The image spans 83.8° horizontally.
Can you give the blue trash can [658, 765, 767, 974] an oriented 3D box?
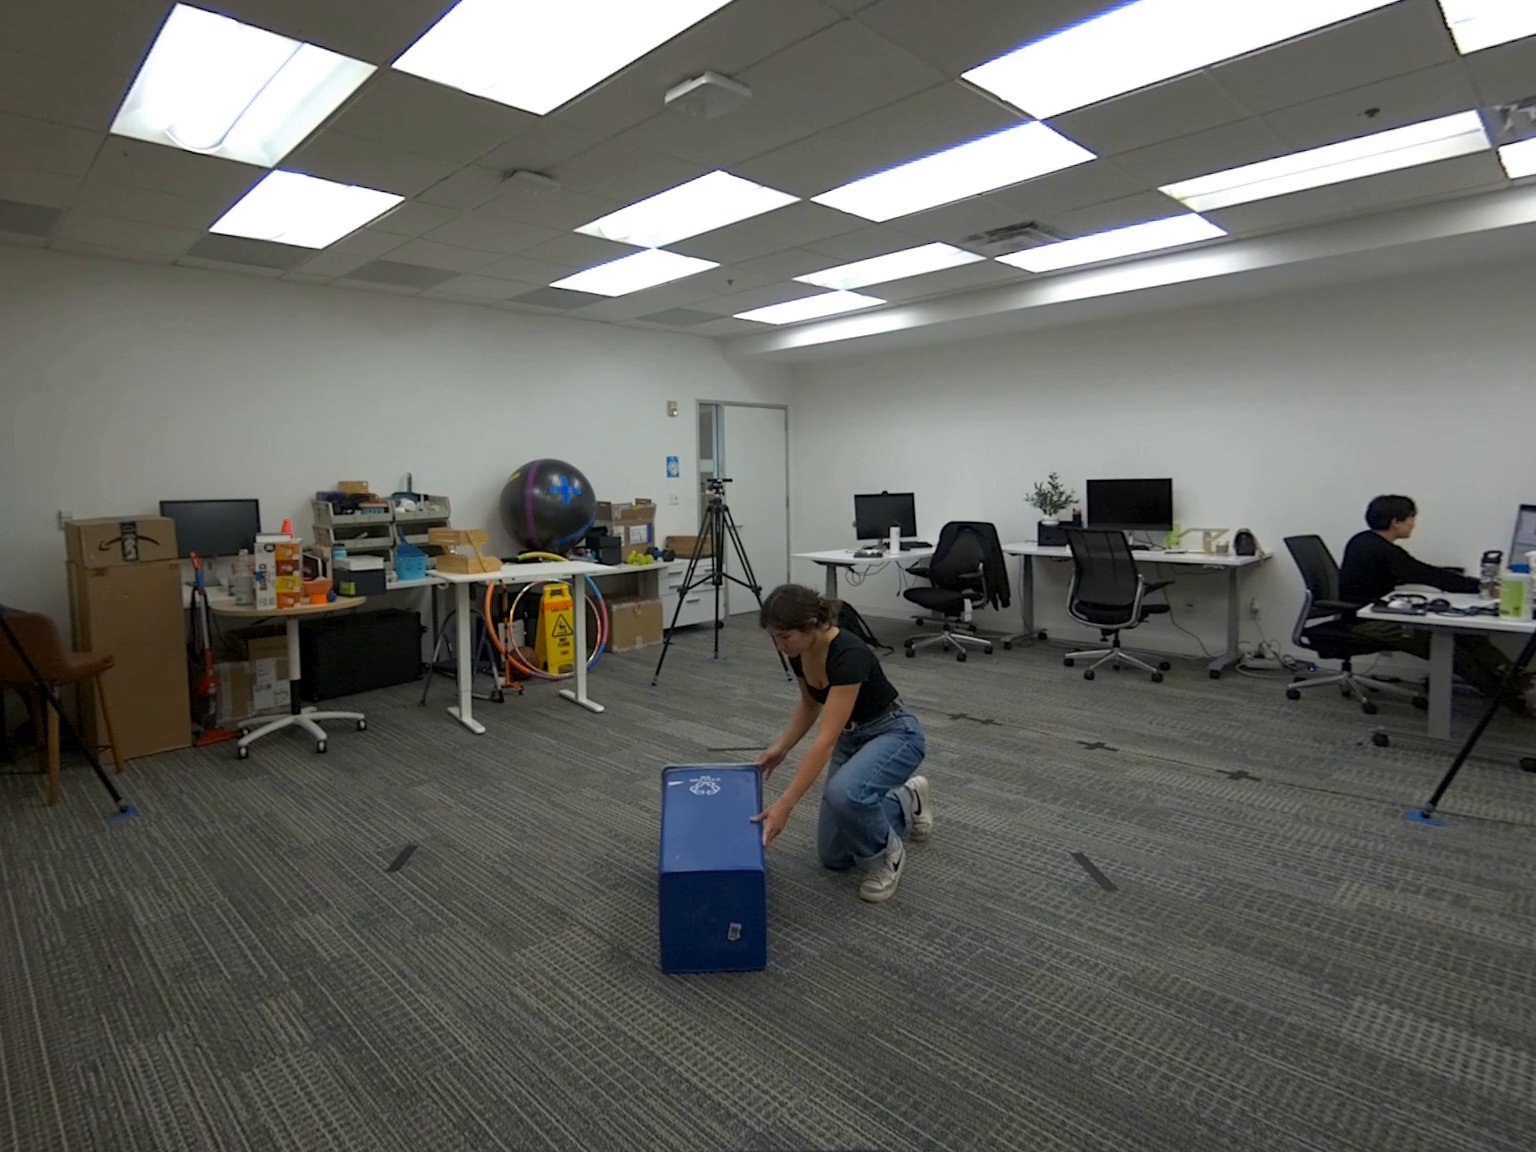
[{"bbox_3d":[-0.174,0.921,2.760,0.373,0.375,0.721,-1,9,-4],"label":"blue trash can"}]
